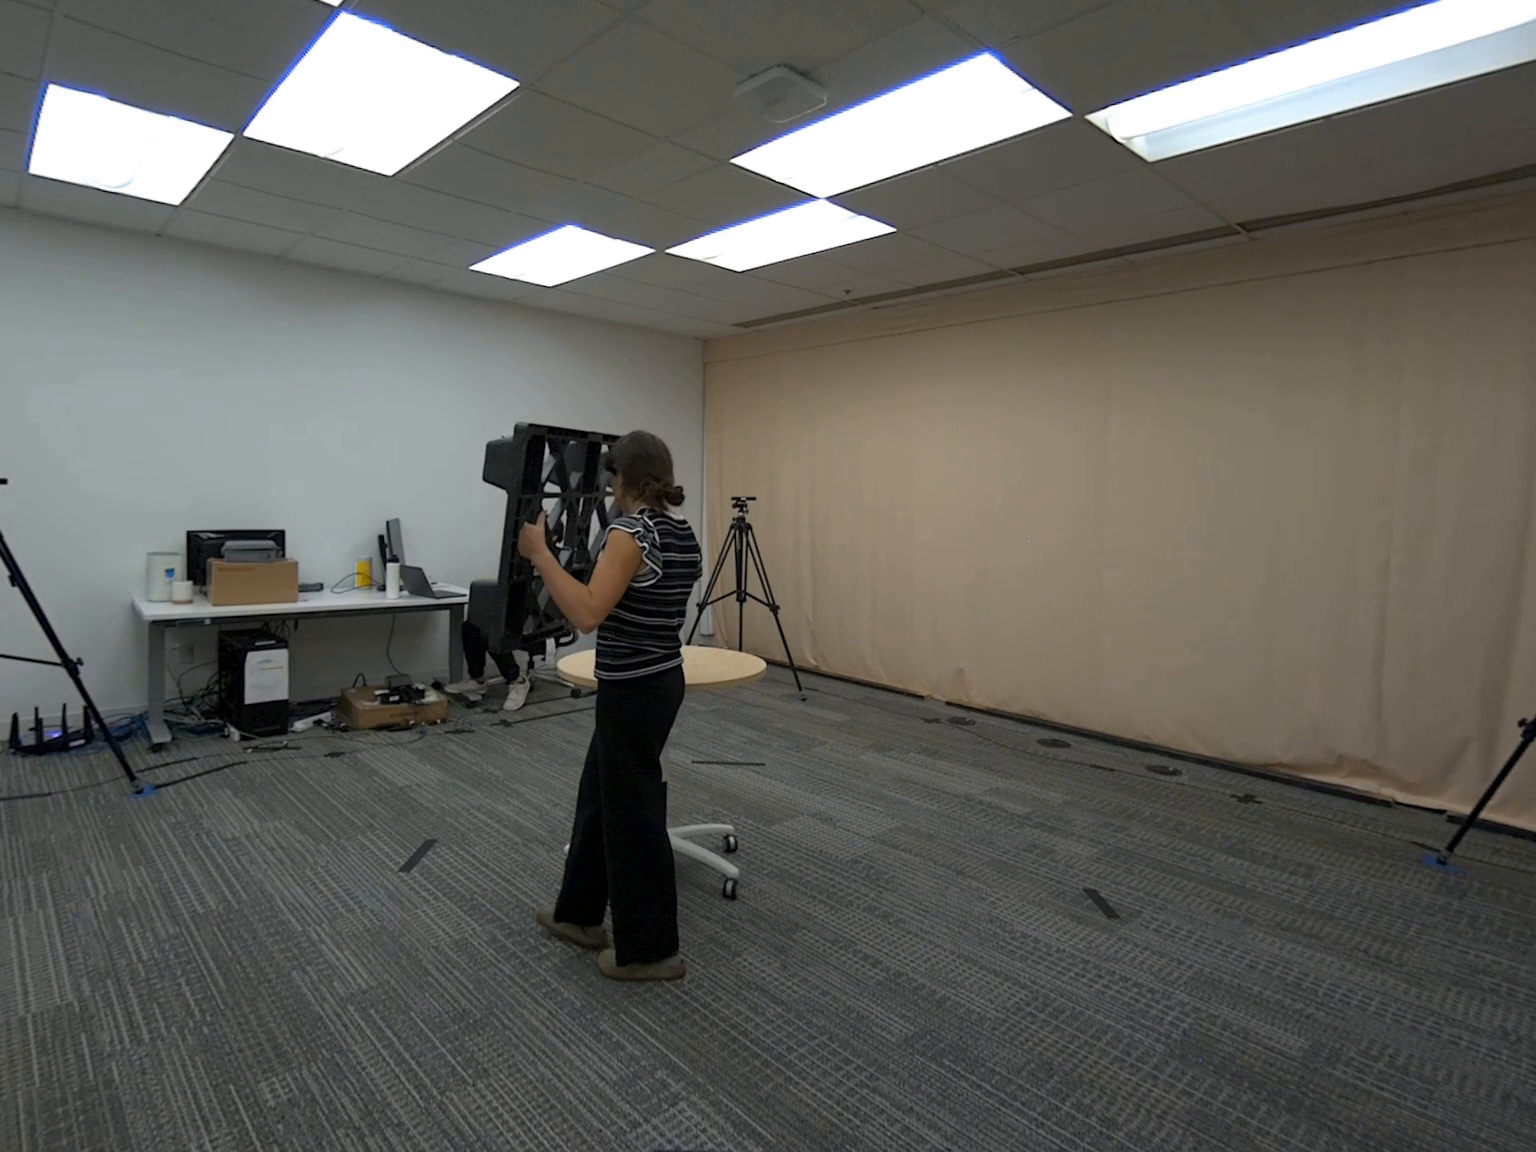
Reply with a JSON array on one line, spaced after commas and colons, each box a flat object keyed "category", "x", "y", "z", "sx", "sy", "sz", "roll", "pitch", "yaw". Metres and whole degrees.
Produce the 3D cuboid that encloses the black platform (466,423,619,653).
[{"category": "black platform", "x": -0.617, "y": -0.146, "z": 2.516, "sx": 0.145, "sy": 0.603, "sz": 0.798, "roll": 9, "pitch": 7, "yaw": 13}]
